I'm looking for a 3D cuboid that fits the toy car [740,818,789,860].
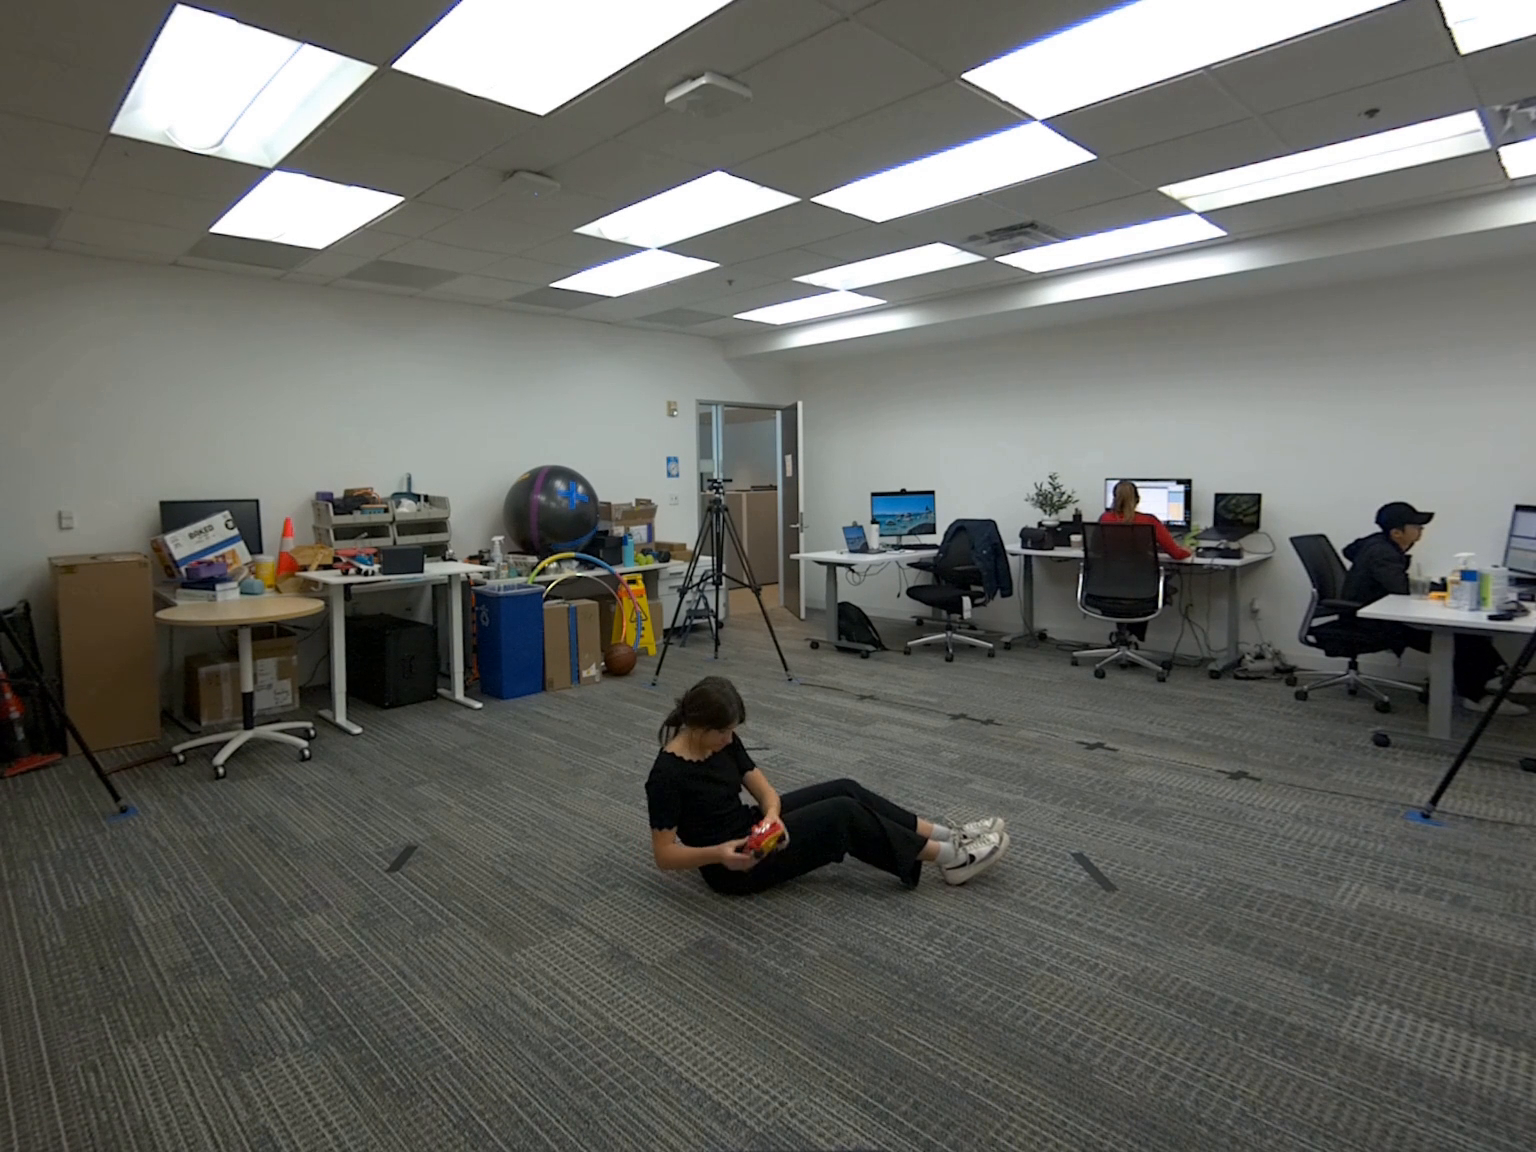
[{"bbox_3d":[-0.027,0.840,2.666,0.128,0.249,0.086,-24,56,-31],"label":"toy car"}]
